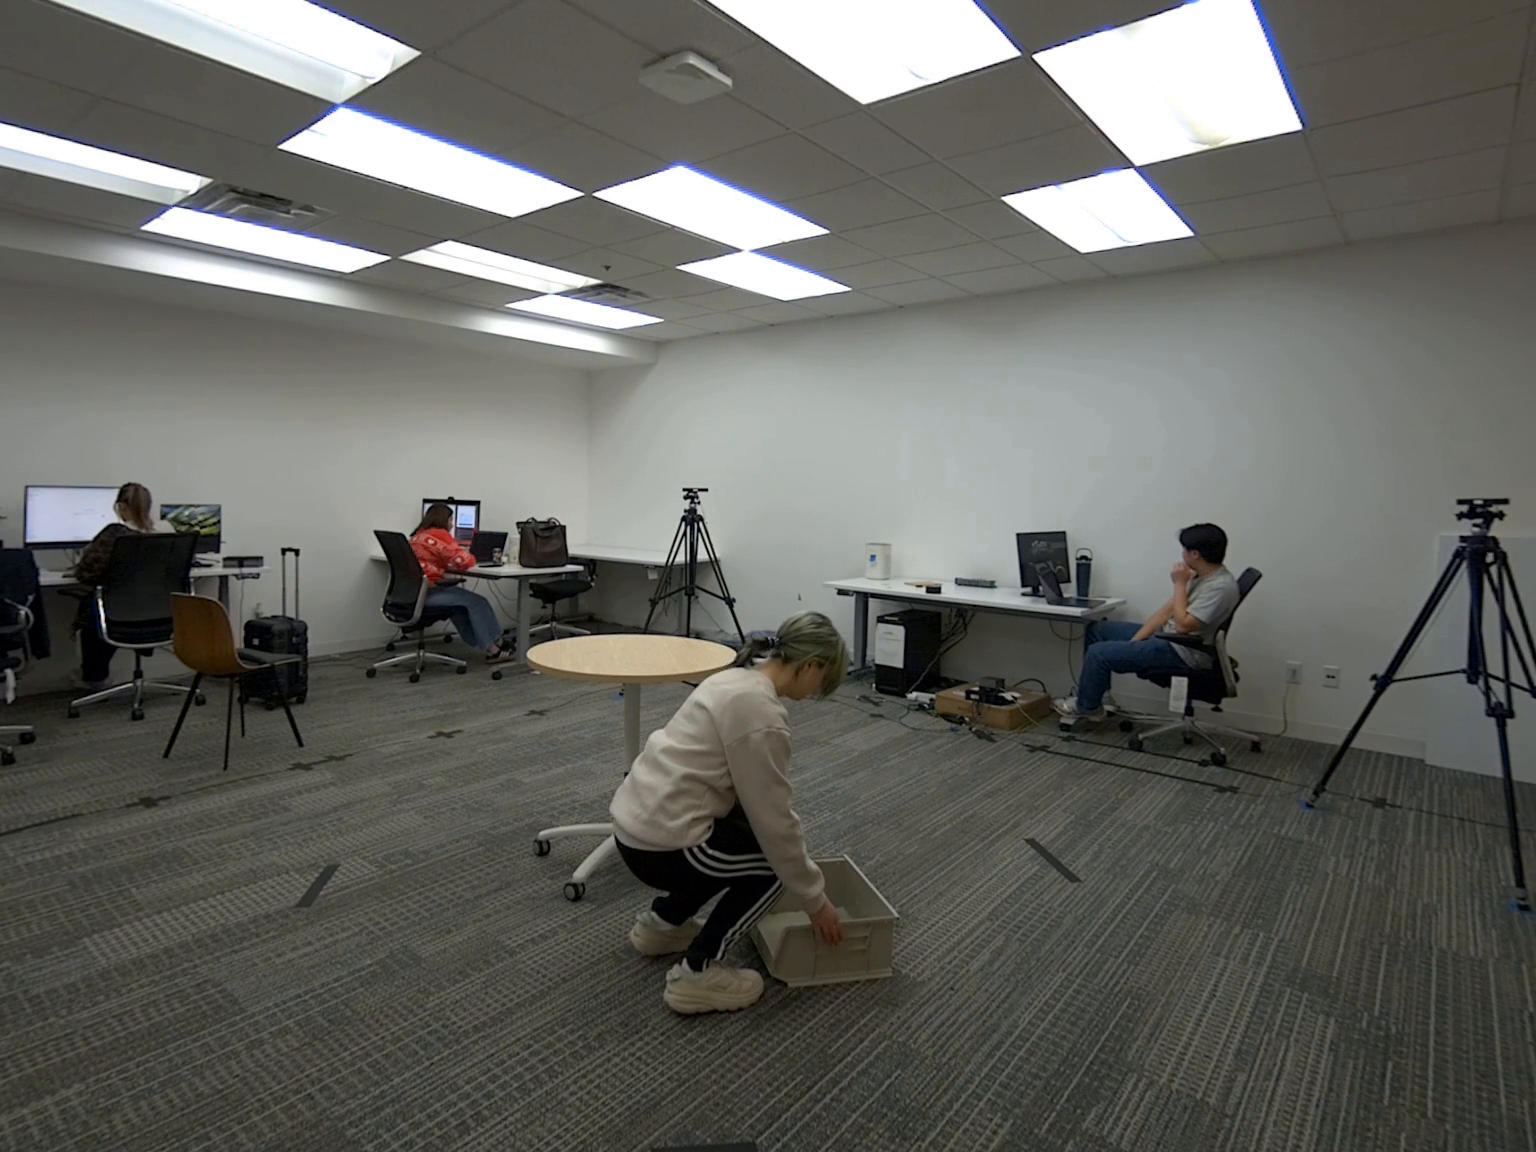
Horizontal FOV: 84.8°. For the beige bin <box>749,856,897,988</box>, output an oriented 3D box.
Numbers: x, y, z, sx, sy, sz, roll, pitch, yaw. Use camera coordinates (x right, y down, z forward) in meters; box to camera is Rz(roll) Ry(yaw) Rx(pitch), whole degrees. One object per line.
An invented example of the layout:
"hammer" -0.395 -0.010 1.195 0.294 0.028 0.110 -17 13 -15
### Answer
"beige bin" 0.131 1.033 2.592 0.371 0.188 0.430 0 4 -16
